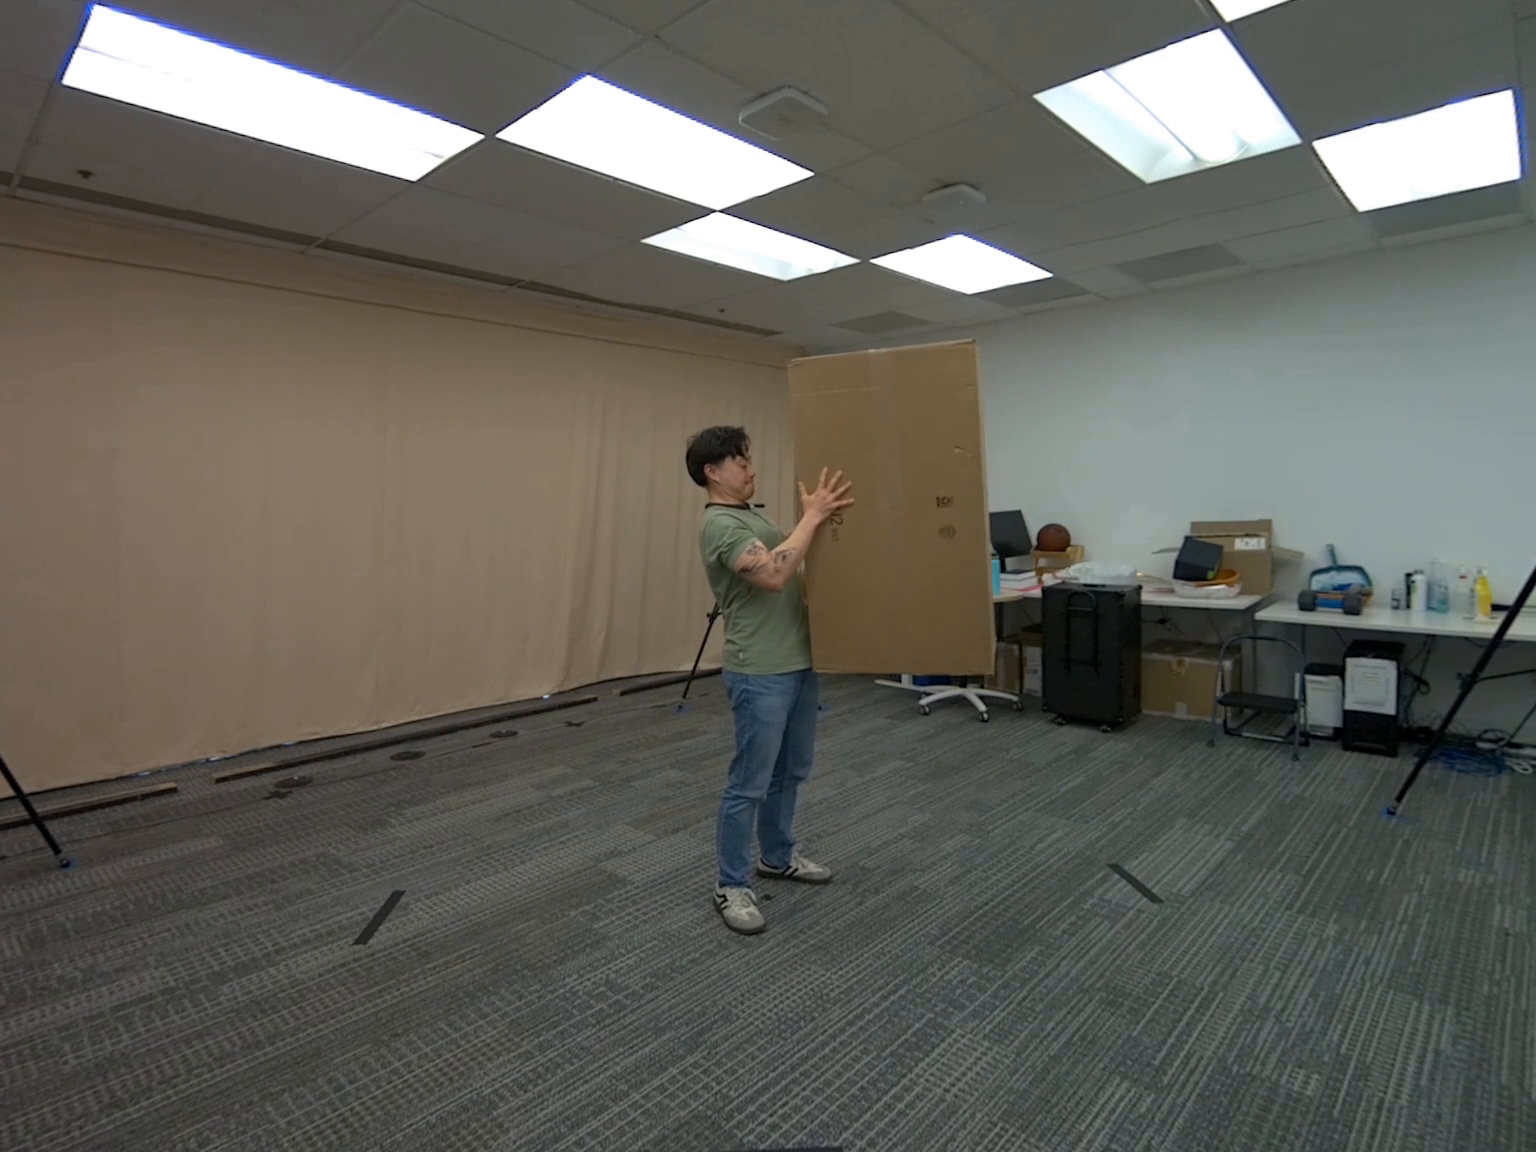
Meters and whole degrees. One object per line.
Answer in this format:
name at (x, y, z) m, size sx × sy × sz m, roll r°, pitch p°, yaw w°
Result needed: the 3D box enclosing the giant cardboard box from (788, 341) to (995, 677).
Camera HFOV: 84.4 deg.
giant cardboard box at (0.435, -0.222, 2.825) m, size 0.588 × 1.019 × 0.421 m, roll -2°, pitch 9°, yaw 18°
